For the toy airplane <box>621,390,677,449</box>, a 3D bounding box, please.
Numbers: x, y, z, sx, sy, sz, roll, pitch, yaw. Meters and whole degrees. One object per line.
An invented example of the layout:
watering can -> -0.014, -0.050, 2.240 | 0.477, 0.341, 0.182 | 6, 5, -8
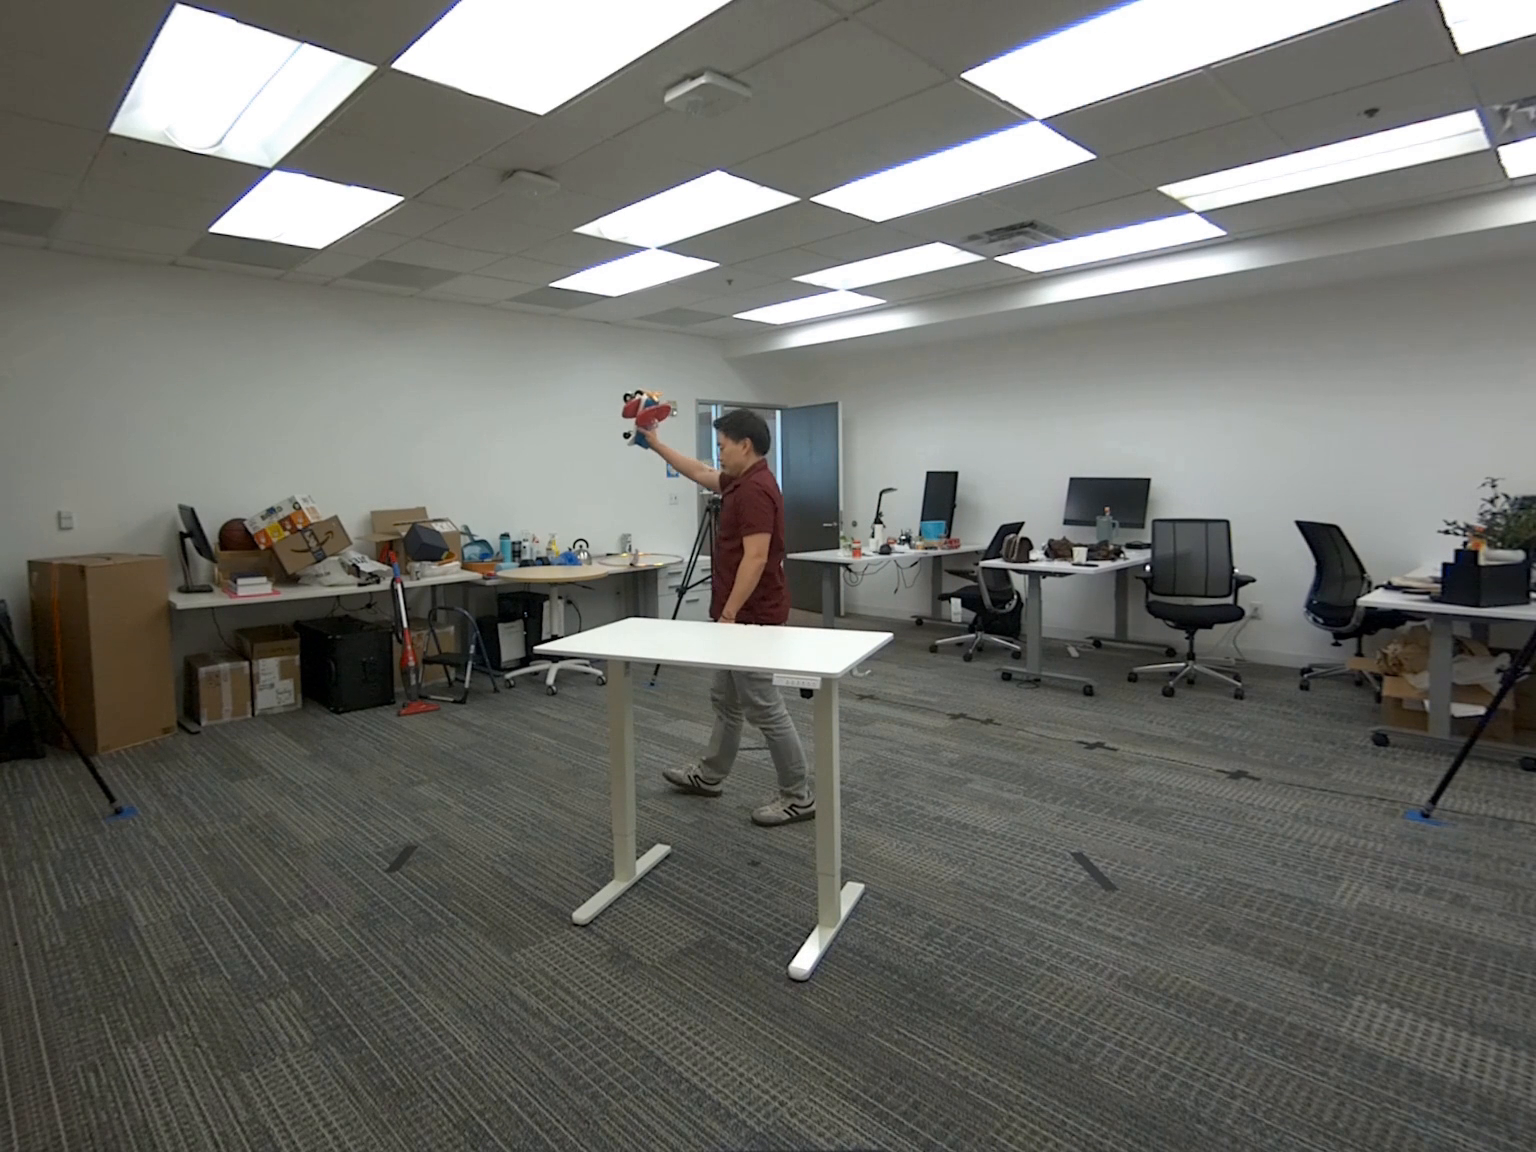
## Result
toy airplane -> -0.556, -0.714, 3.826 | 0.160, 0.251, 0.252 | 17, 52, 22
